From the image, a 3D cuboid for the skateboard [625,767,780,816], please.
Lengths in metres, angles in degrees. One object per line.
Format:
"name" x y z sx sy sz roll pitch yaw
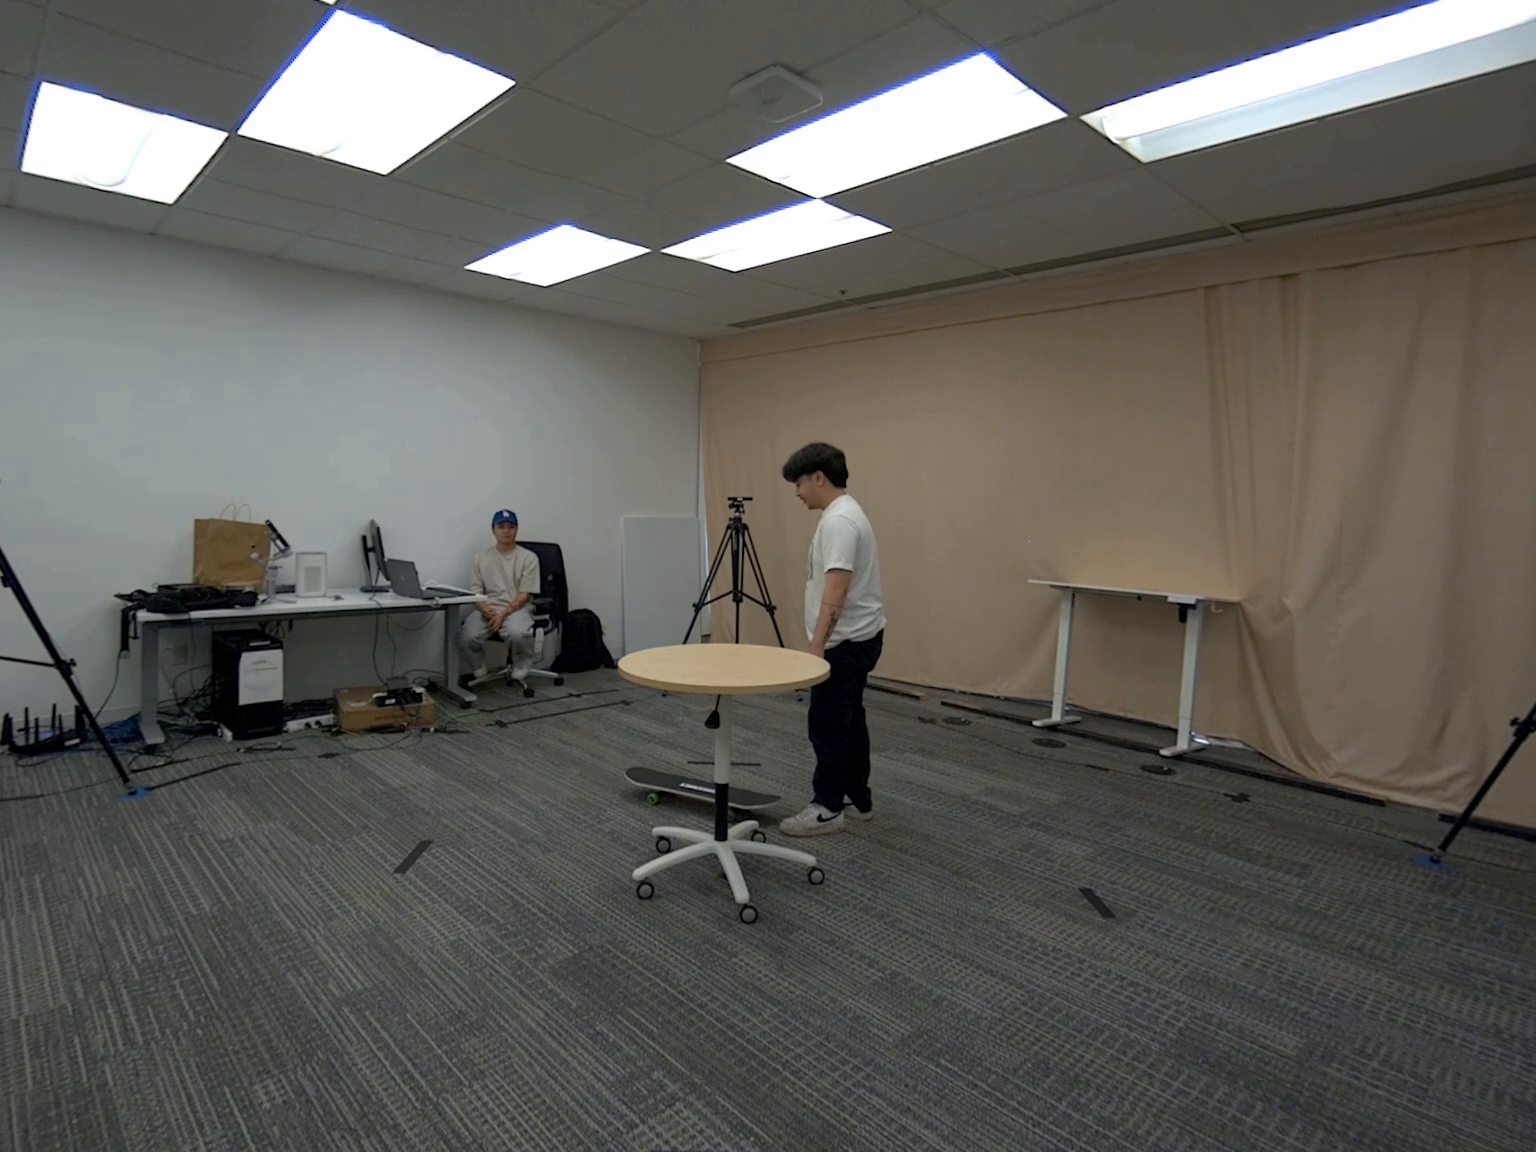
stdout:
"skateboard" -0.314 0.983 3.793 0.802 0.110 0.190 4 5 28
